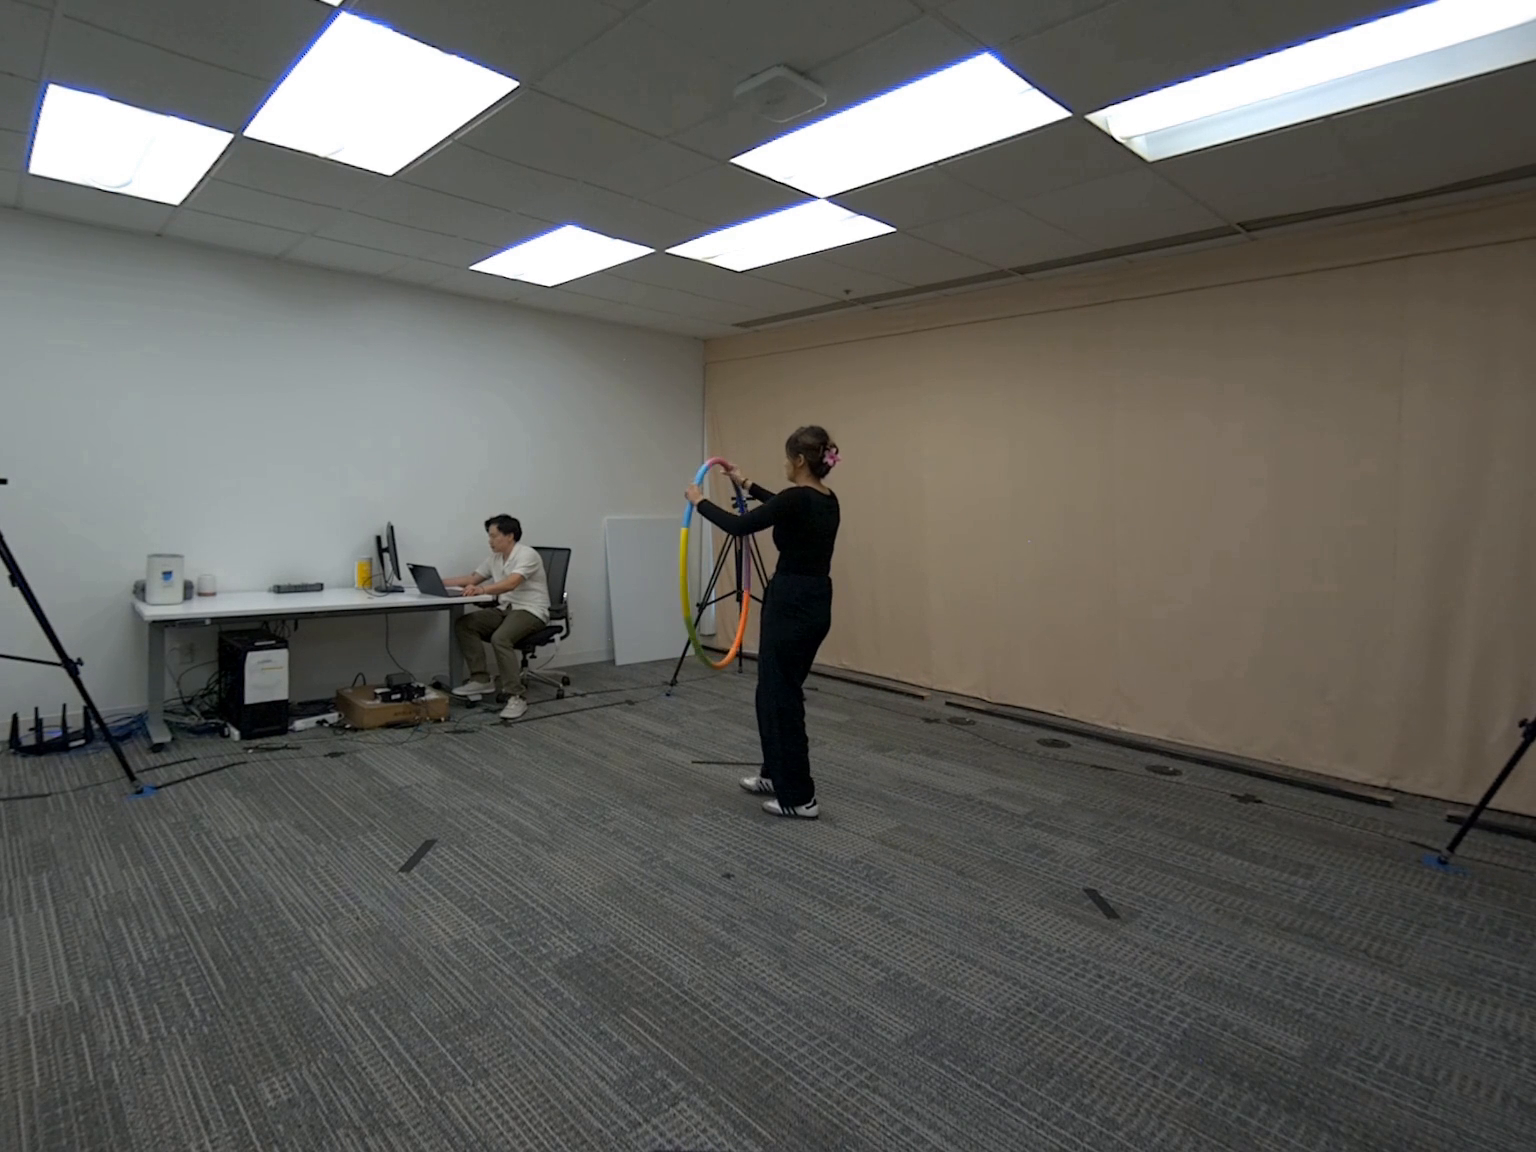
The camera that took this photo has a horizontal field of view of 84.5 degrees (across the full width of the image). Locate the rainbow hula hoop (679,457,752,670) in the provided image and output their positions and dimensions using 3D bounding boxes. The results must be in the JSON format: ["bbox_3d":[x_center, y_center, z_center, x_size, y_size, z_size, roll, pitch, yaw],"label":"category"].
[{"bbox_3d":[-0.244,-0.066,3.950,0.052,0.983,0.974,0,4,16],"label":"rainbow hula hoop"}]
